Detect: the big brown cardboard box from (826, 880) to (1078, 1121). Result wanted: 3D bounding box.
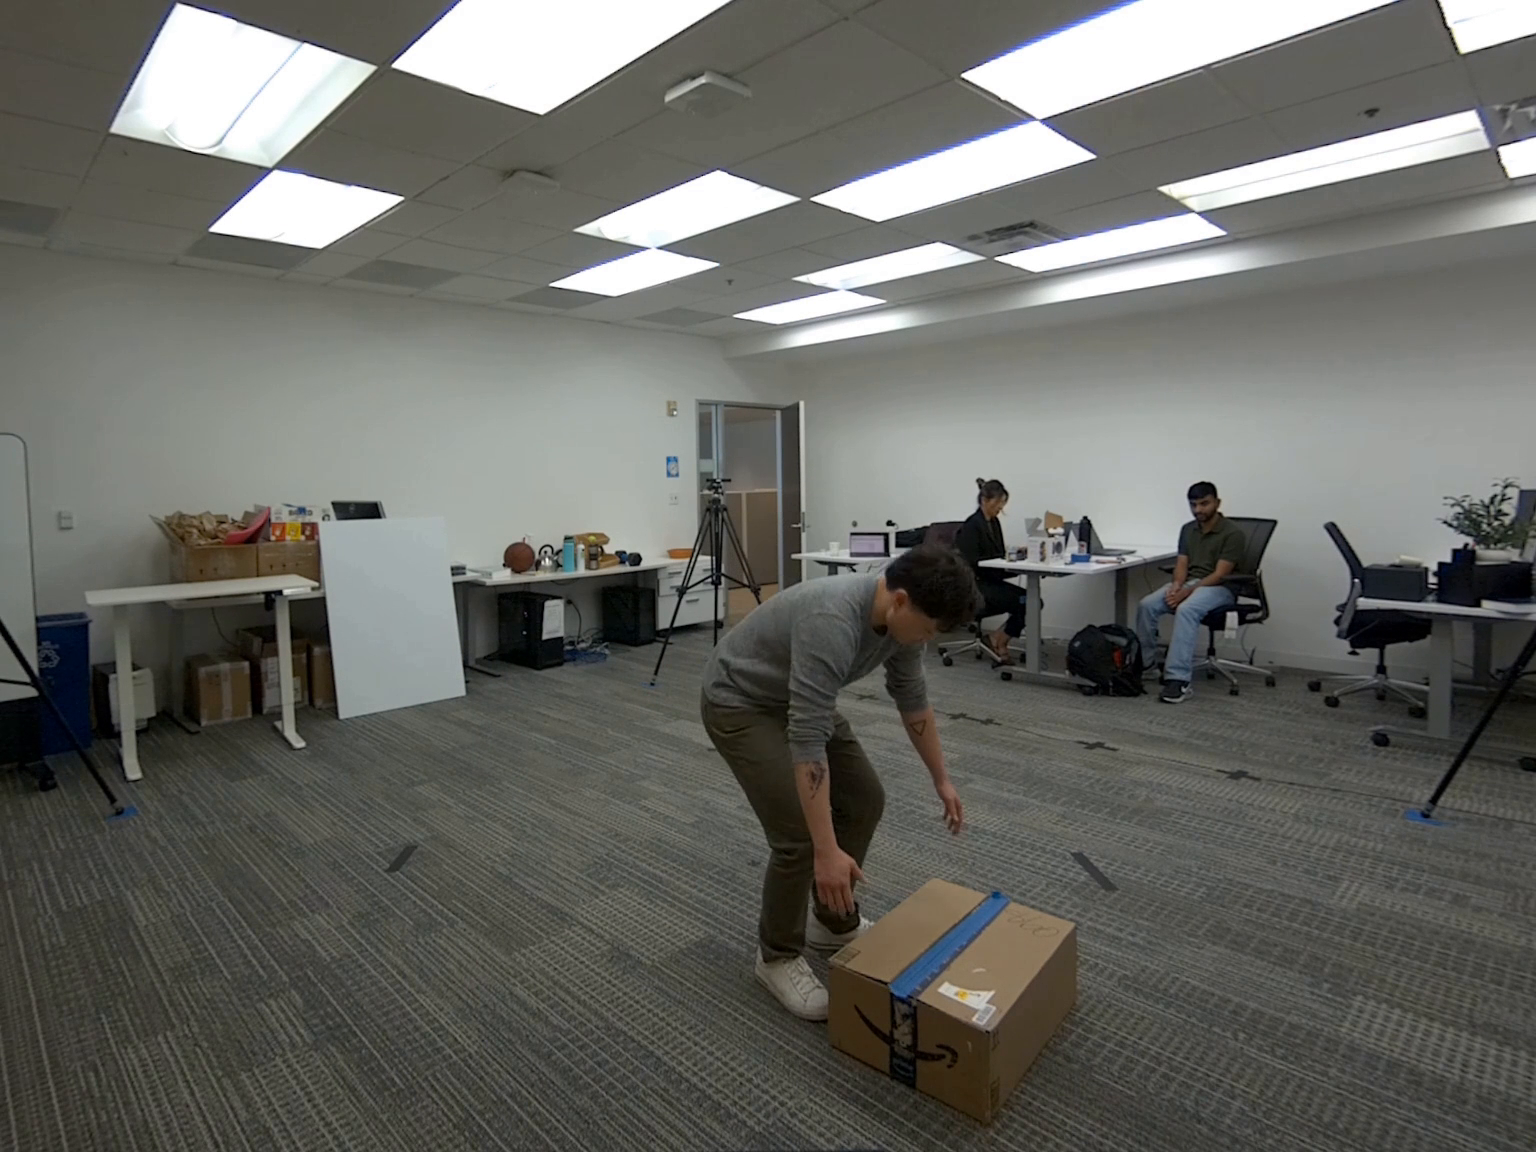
[{"bbox_3d":[0.478,1.030,2.170,0.430,0.232,0.574,4,7,39],"label":"big brown cardboard box"}]
